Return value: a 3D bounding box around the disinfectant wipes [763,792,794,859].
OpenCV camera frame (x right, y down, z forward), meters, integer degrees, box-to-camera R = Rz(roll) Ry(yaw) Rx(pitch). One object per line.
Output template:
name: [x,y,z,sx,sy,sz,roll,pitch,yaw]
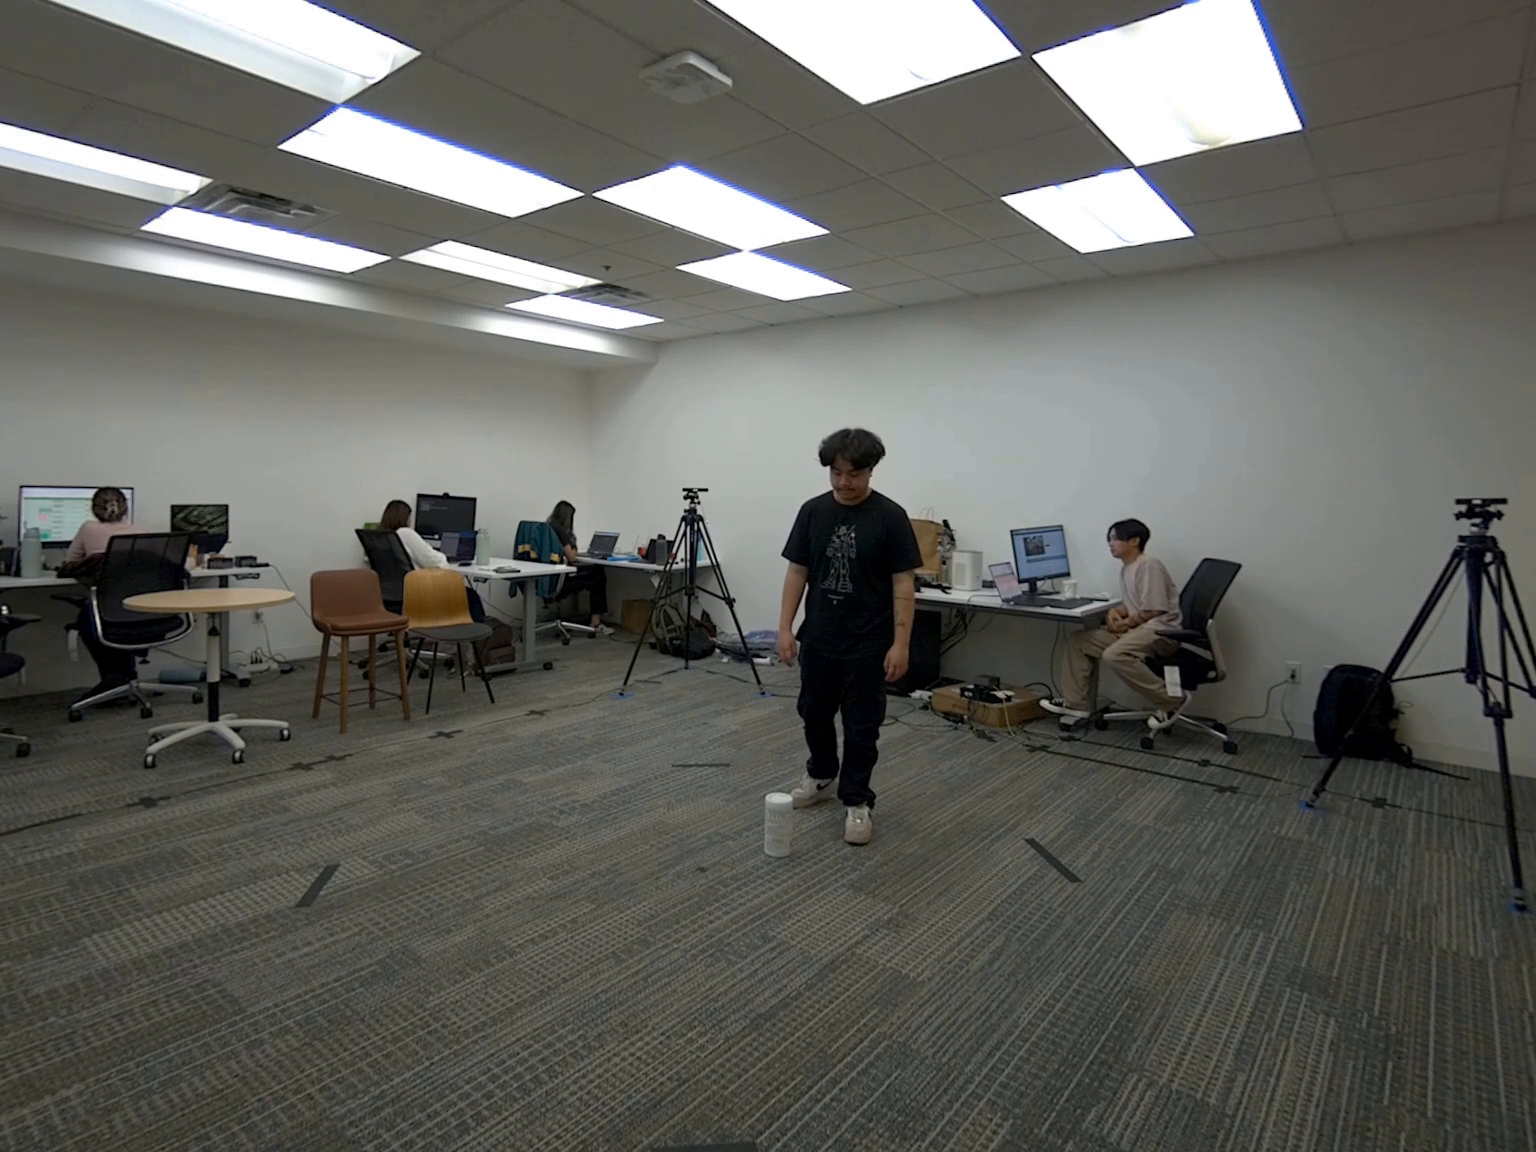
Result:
disinfectant wipes: [0.036,0.950,3.266,0.118,0.217,0.118,1,4,-2]
